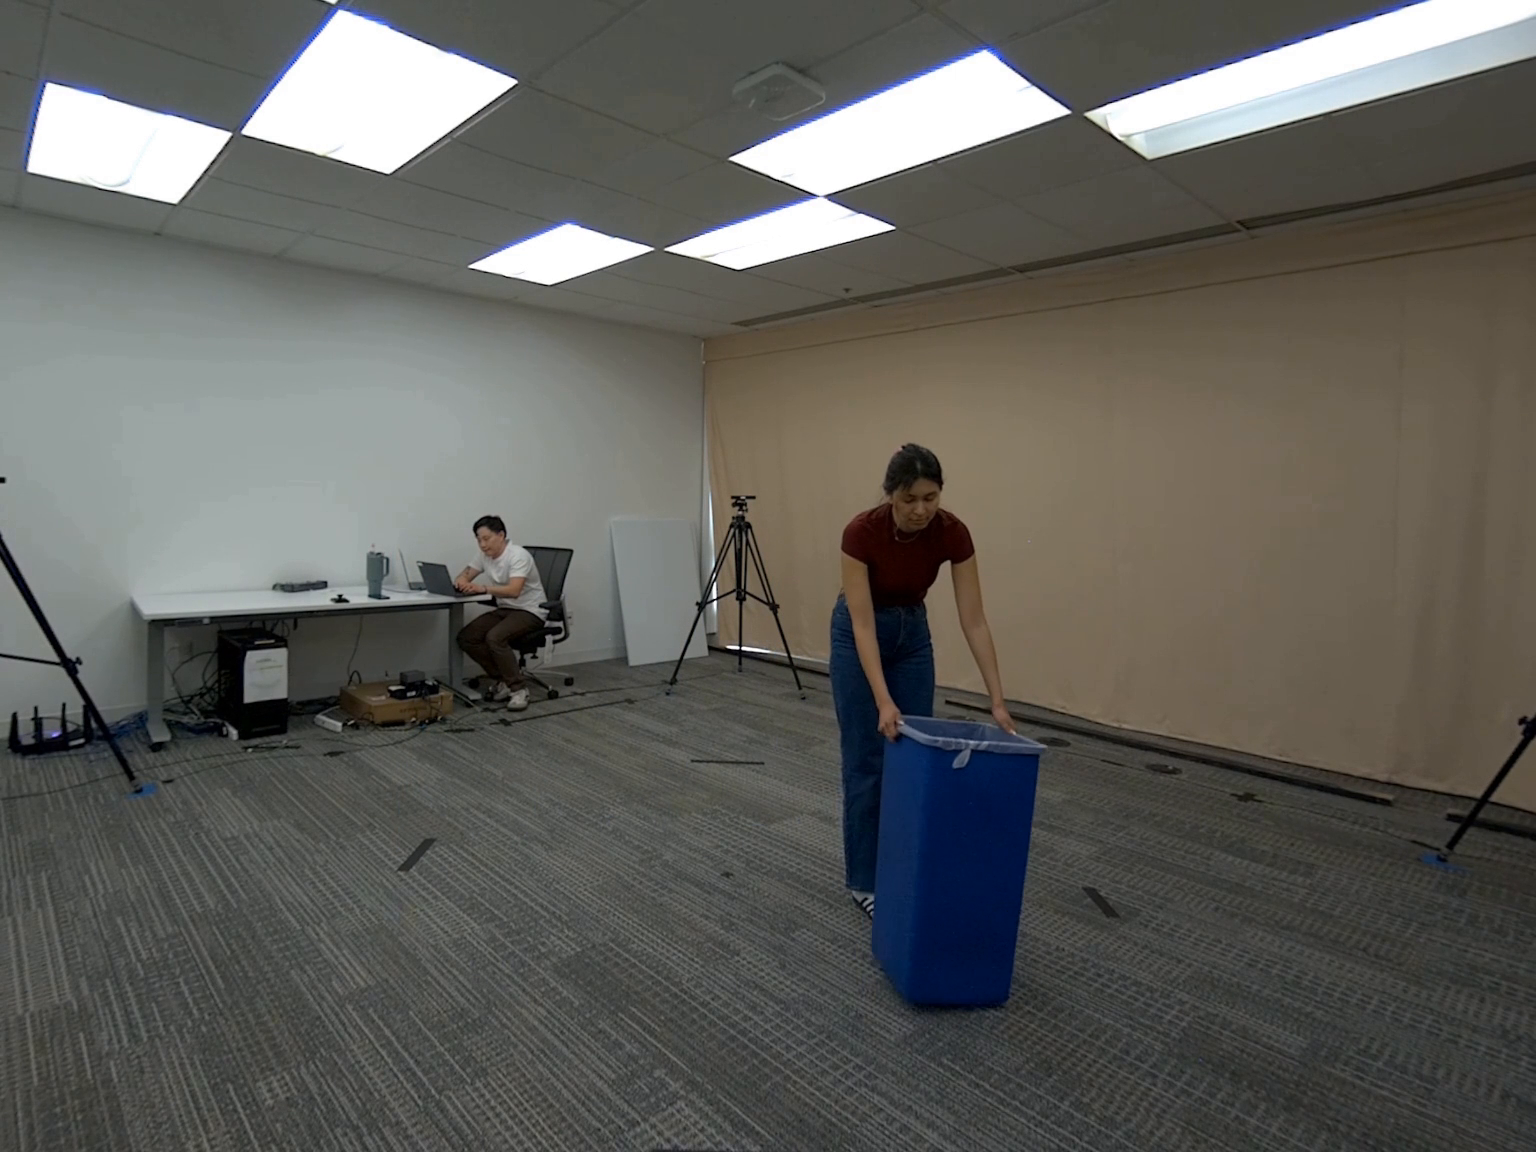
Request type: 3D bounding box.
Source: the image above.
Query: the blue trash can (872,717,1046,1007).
[{"bbox_3d":[0.522,0.807,2.459,0.374,0.714,0.378,6,-1,-13],"label":"blue trash can"}]
